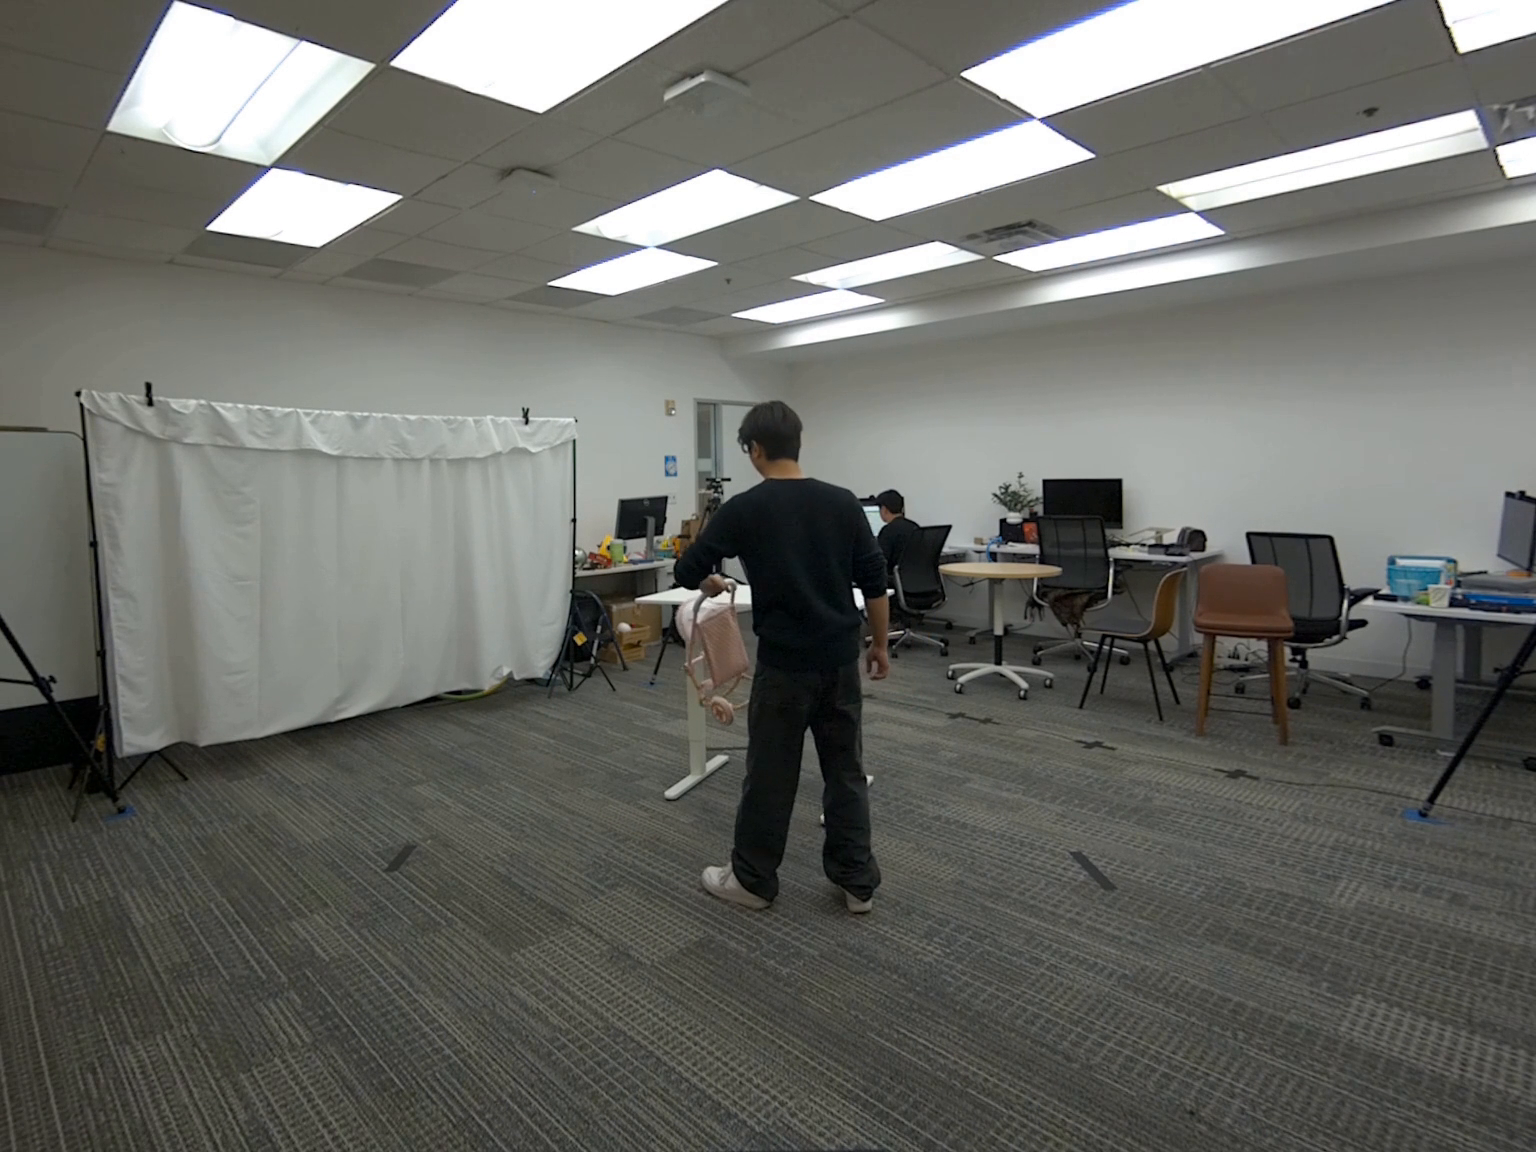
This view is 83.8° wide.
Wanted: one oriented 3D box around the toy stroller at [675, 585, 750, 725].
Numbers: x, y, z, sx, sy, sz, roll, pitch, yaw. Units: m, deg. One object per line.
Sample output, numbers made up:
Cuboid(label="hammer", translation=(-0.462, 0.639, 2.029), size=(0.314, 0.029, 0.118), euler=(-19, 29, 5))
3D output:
Cuboid(label="toy stroller", translation=(-0.185, 0.297, 3.197), size=(0.277, 0.531, 0.348), euler=(-25, 7, -32))
